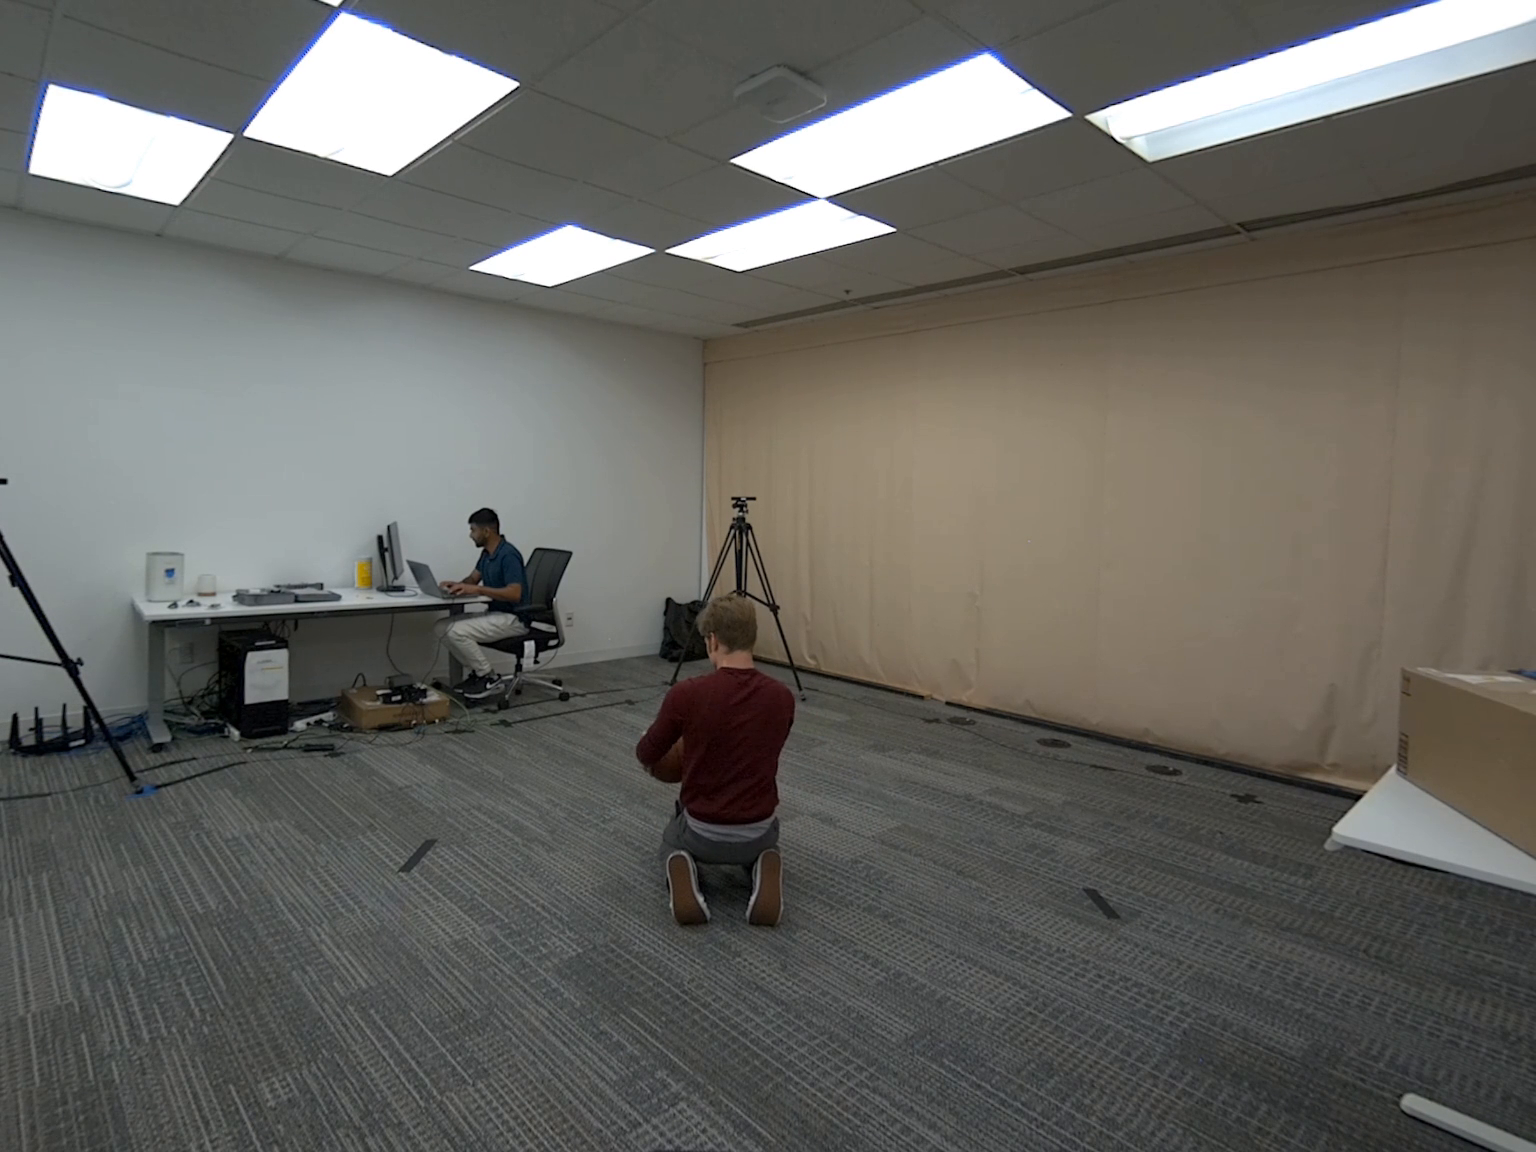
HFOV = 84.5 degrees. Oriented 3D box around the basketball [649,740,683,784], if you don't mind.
[{"bbox_3d":[-0.375,0.696,3.301,0.236,0.235,0.237,1,4,-1],"label":"basketball"}]
